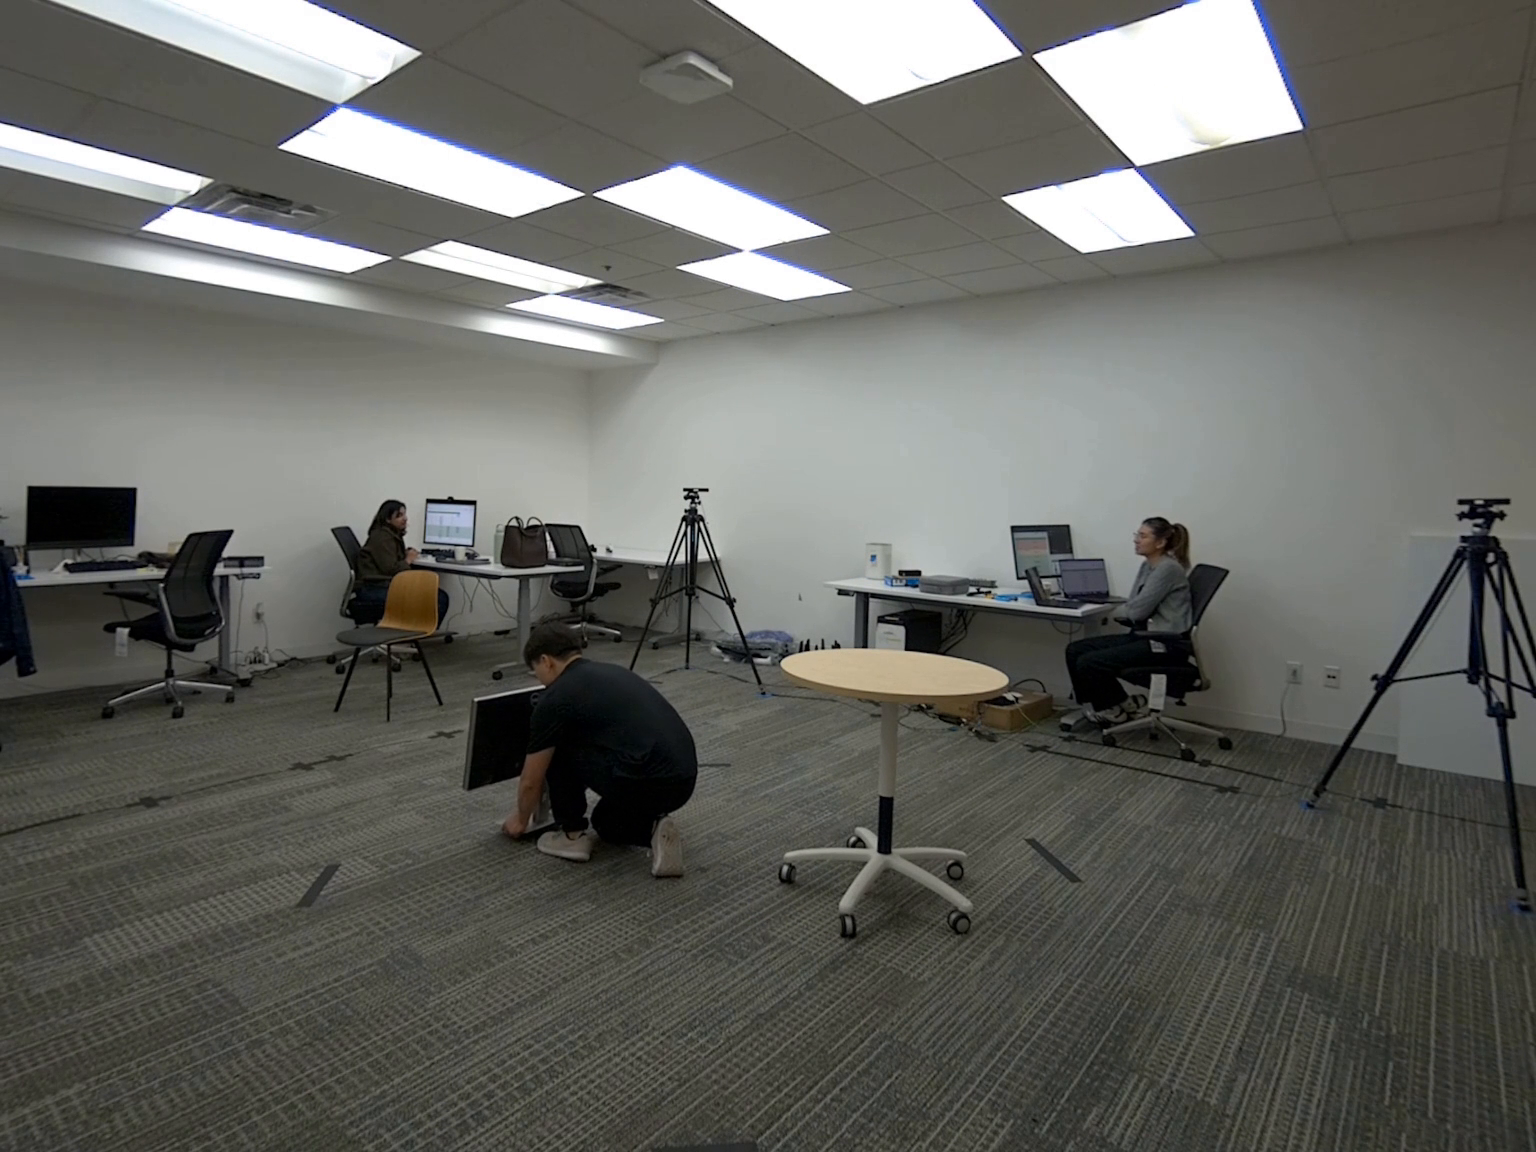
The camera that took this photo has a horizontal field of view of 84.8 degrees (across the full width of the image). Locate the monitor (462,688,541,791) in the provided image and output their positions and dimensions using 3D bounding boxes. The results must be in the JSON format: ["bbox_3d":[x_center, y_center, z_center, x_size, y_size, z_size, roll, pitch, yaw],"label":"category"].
[{"bbox_3d":[-0.975,0.725,3.443,0.192,0.523,0.523,-3,0,35],"label":"monitor"}]
